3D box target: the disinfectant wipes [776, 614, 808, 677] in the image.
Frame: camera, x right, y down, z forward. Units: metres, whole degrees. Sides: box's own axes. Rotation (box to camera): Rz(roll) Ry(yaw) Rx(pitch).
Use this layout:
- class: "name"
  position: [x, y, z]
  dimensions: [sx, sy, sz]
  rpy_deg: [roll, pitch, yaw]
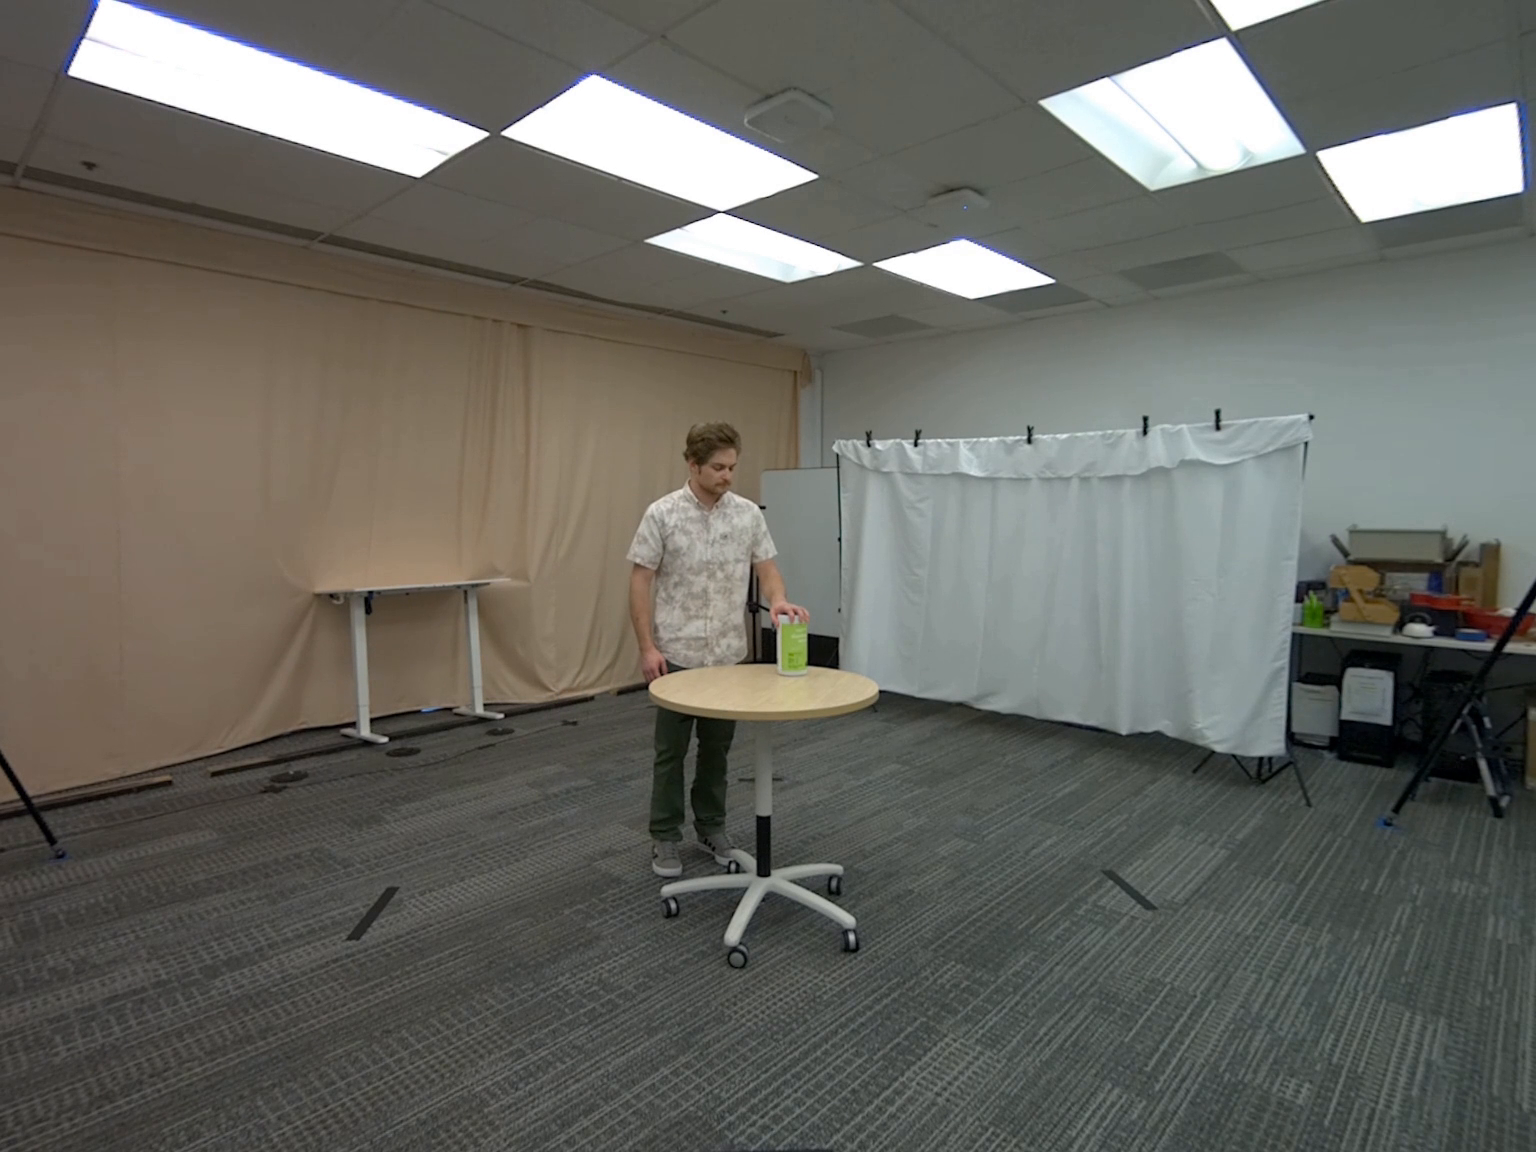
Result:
- class: "disinfectant wipes"
  position: [0.090, 0.245, 3.013]
  dimensions: [0.118, 0.217, 0.118]
  rpy_deg: [2, 1, -2]
